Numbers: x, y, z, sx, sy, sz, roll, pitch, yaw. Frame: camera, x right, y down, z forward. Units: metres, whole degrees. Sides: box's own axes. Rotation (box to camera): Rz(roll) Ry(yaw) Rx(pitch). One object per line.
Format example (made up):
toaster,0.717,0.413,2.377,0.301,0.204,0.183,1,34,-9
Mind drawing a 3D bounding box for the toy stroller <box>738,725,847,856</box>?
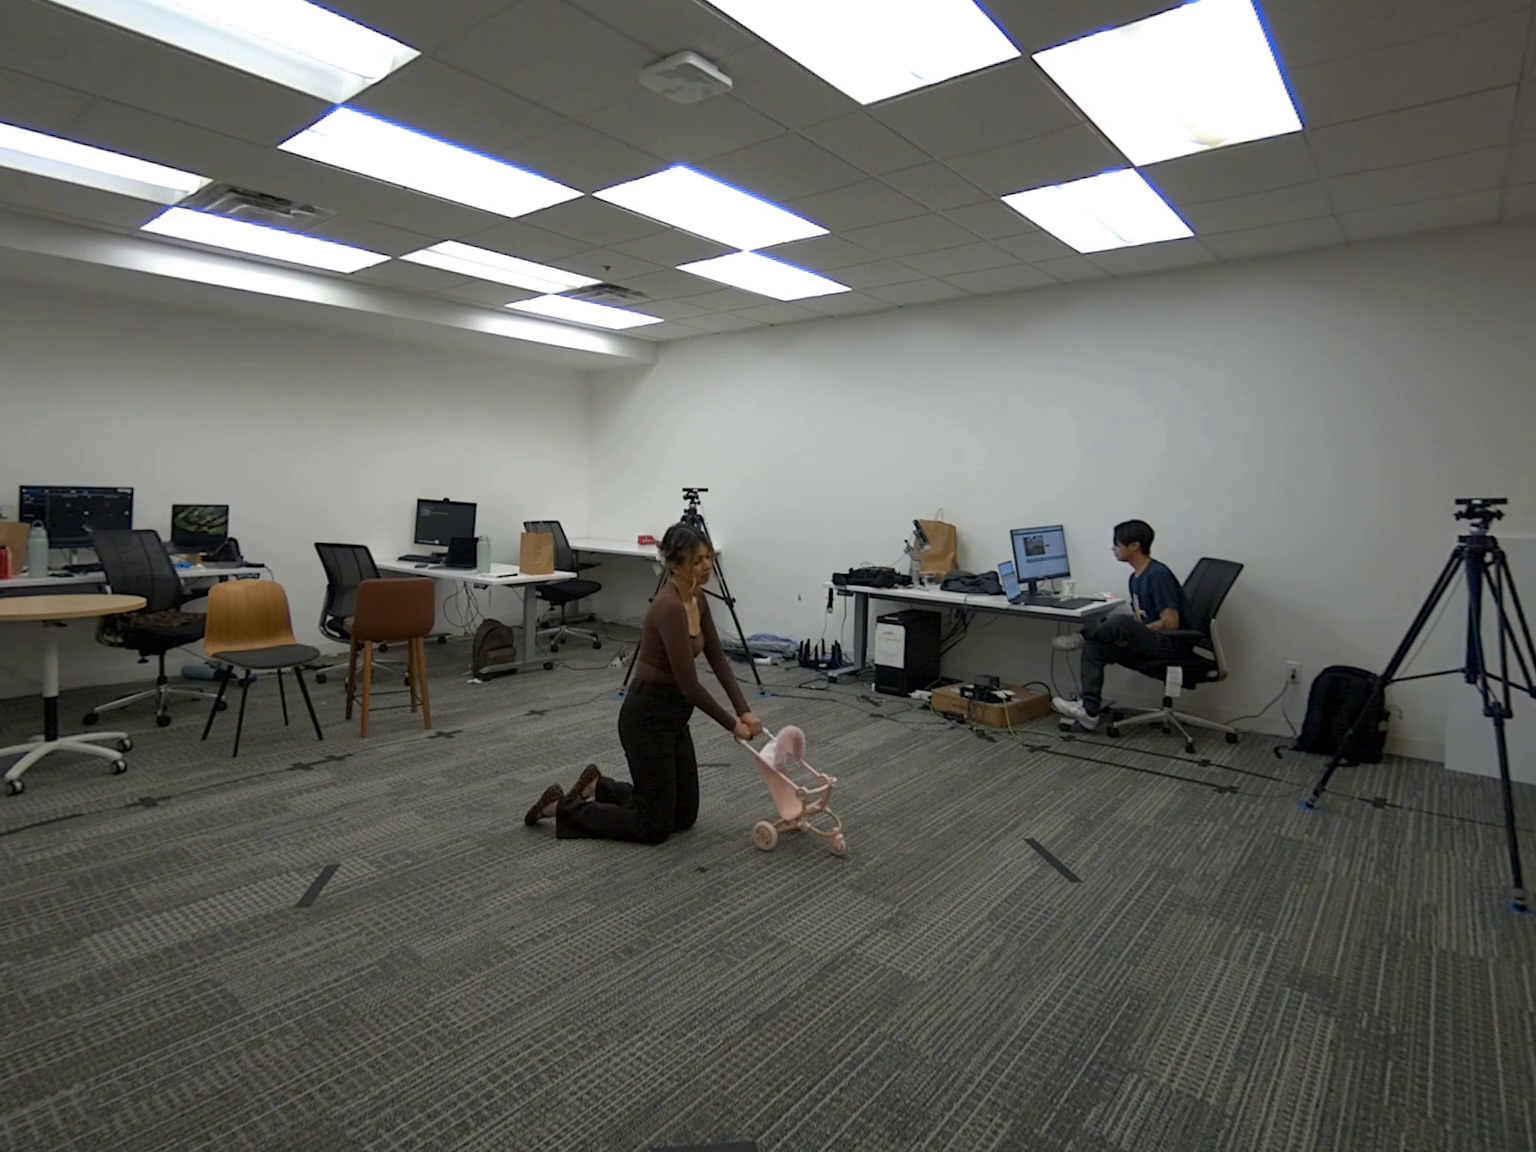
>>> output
toy stroller,0.095,0.831,3.347,0.348,0.540,0.273,-17,-8,34
